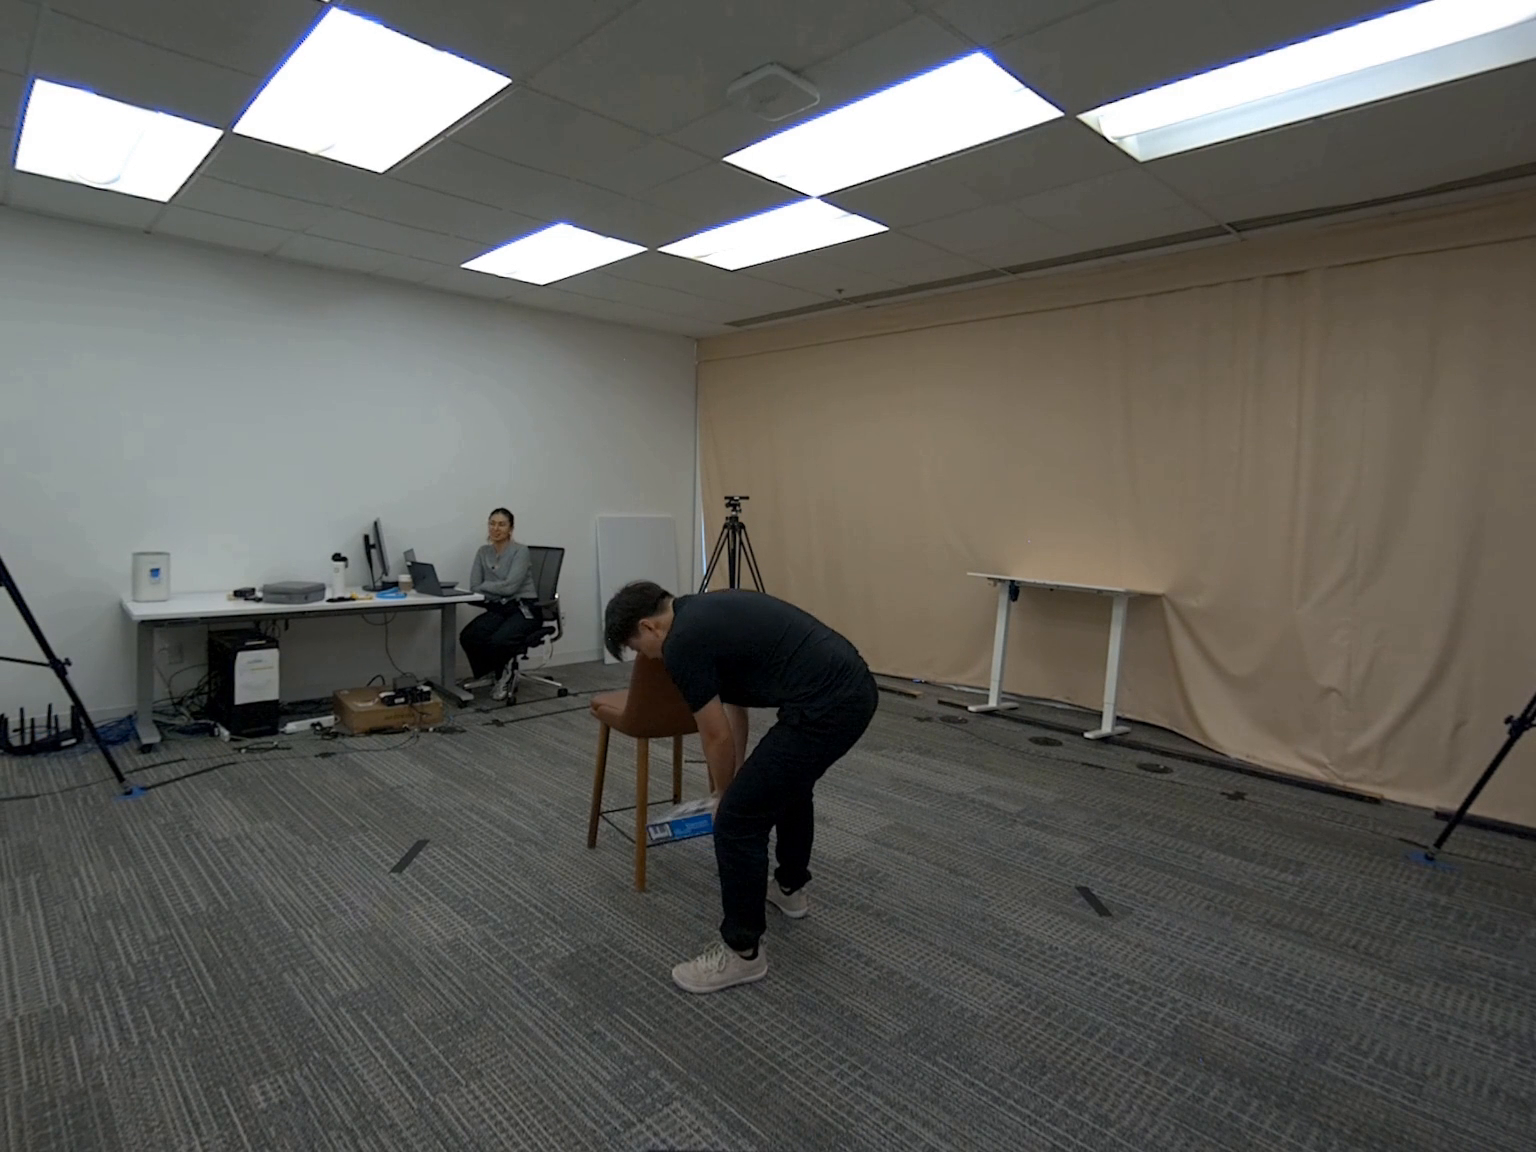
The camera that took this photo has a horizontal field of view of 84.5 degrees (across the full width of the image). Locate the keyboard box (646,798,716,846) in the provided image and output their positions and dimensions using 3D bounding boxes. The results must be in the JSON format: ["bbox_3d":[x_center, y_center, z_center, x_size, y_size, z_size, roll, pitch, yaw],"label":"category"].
[{"bbox_3d":[-0.202,0.780,2.754,0.442,0.059,0.173,-21,-2,33],"label":"keyboard box"}]
